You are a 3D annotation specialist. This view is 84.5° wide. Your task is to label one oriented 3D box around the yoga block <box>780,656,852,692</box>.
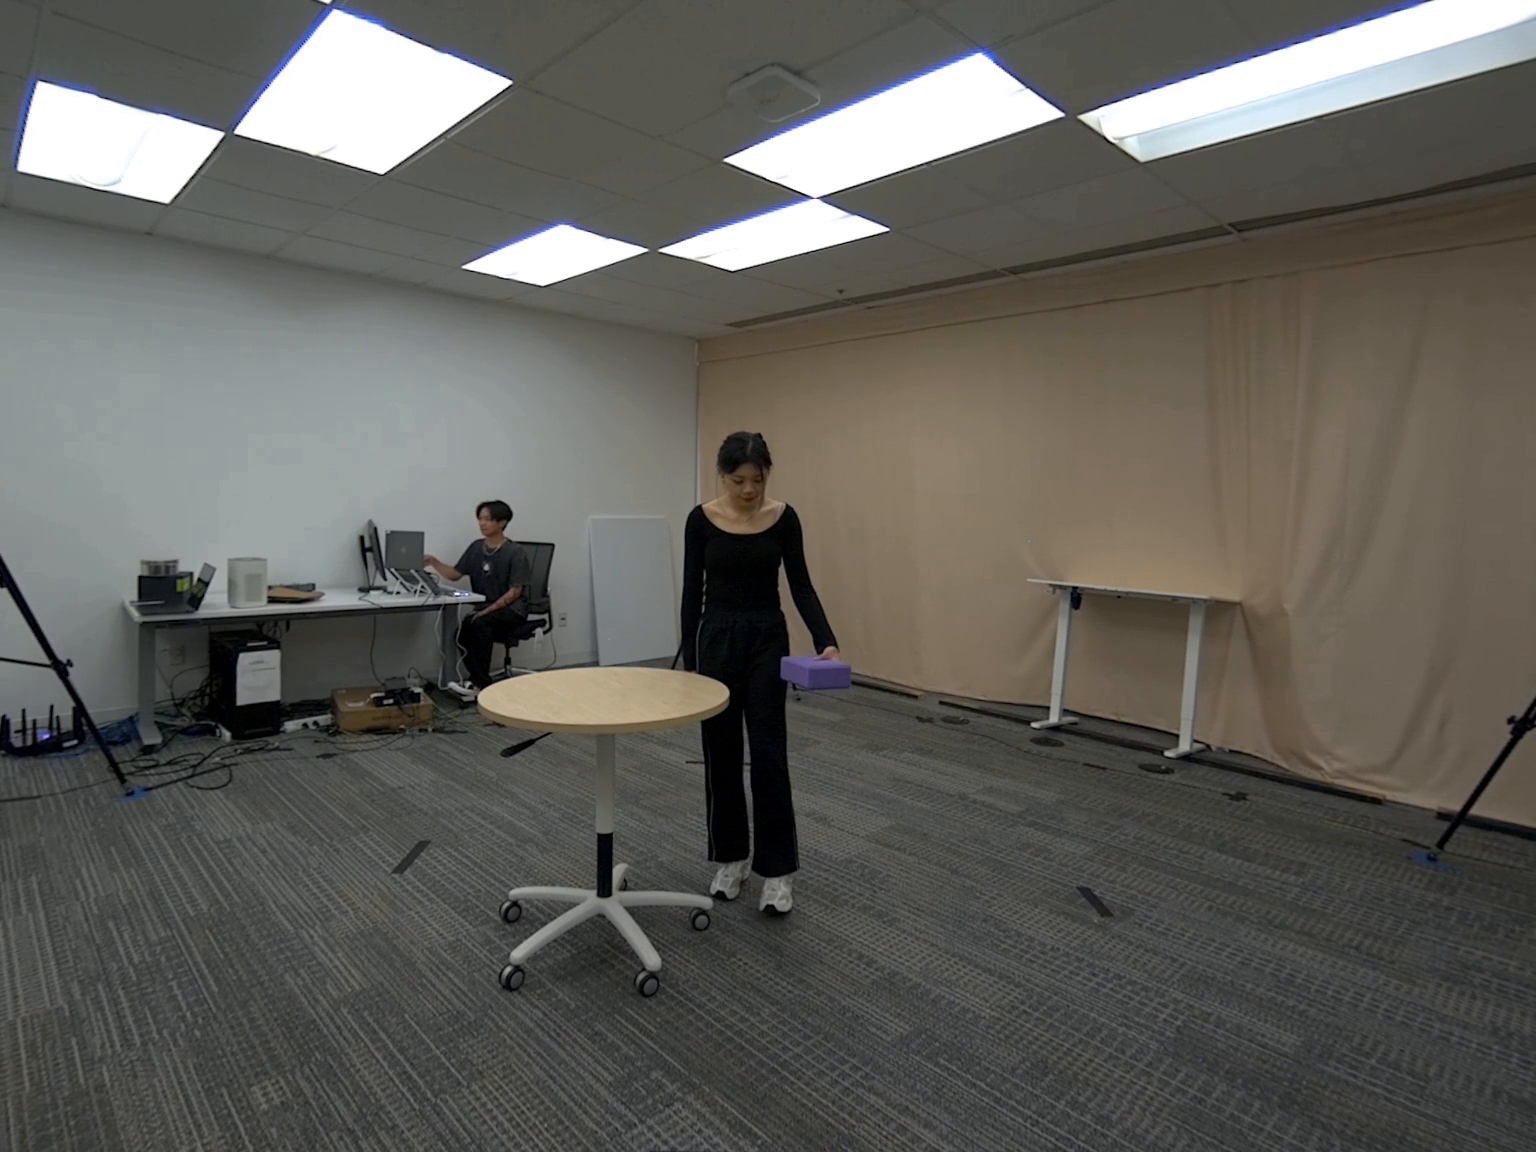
[{"bbox_3d":[0.137,0.311,2.681,0.147,0.076,0.233,0,2,-21],"label":"yoga block"}]
